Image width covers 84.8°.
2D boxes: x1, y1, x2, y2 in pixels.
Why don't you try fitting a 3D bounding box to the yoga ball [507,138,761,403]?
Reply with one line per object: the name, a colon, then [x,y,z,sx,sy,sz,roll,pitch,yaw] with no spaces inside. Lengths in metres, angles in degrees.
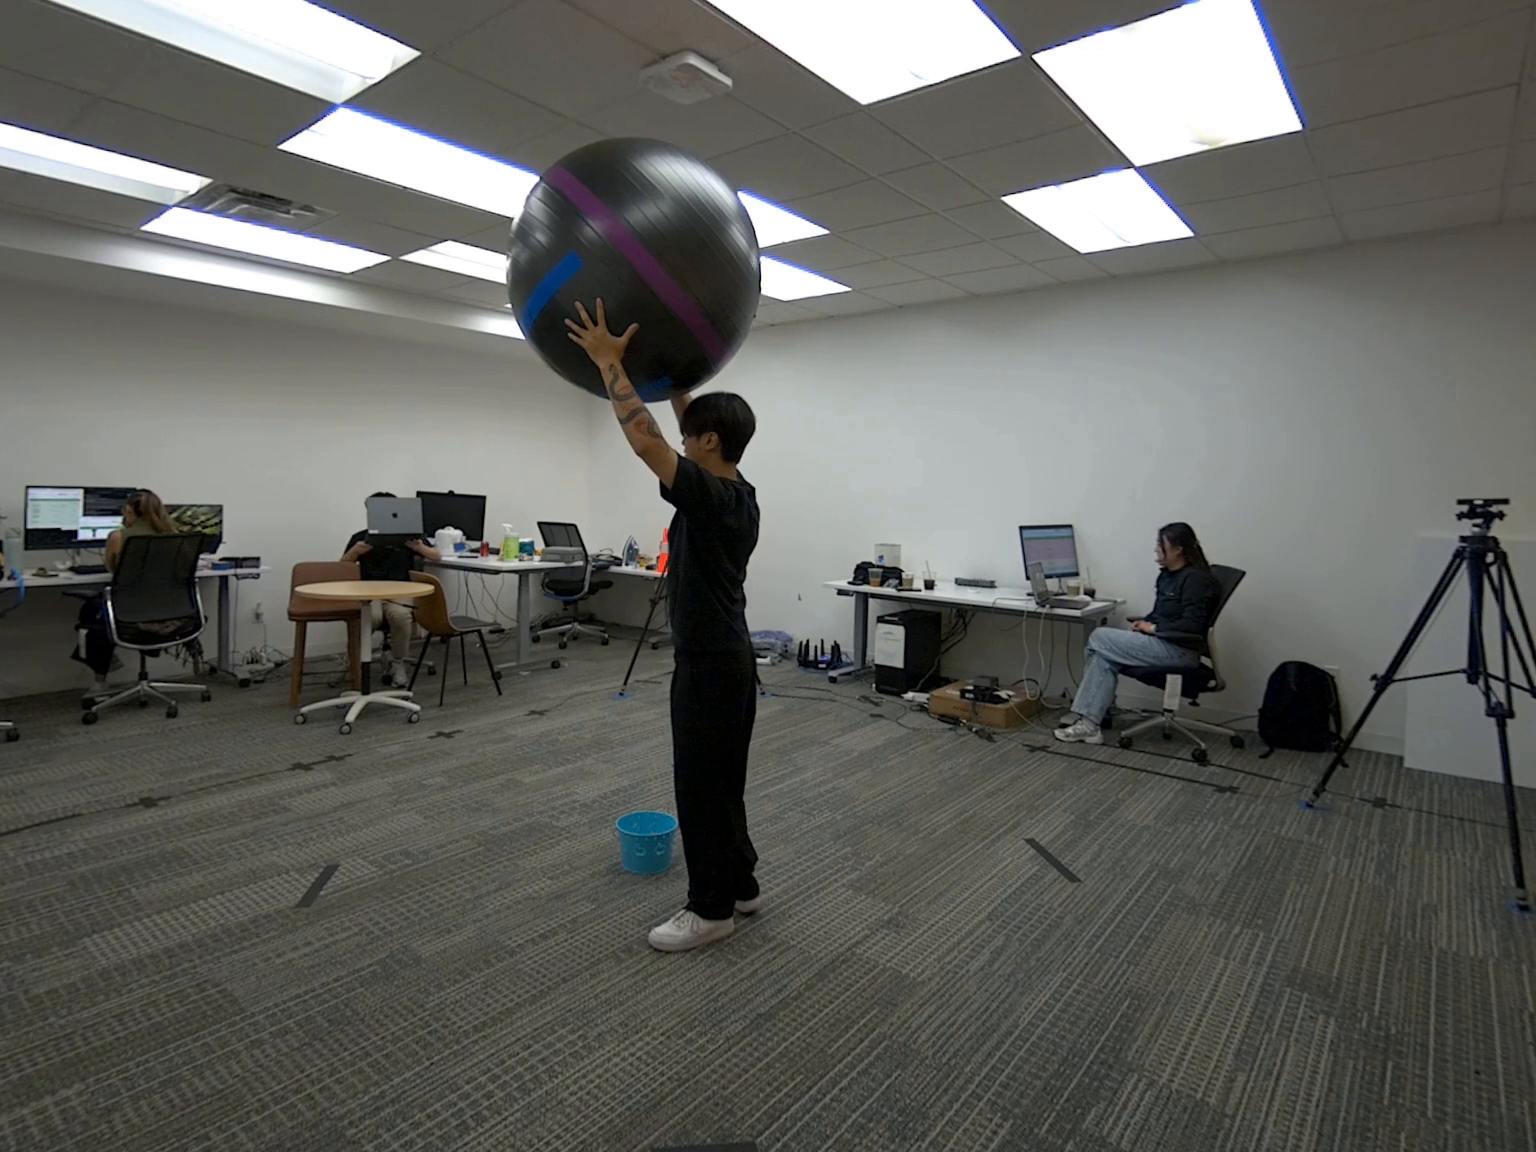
yoga ball: [-0.406,-0.900,2.553,0.757,0.755,0.762,1,4,-2]
